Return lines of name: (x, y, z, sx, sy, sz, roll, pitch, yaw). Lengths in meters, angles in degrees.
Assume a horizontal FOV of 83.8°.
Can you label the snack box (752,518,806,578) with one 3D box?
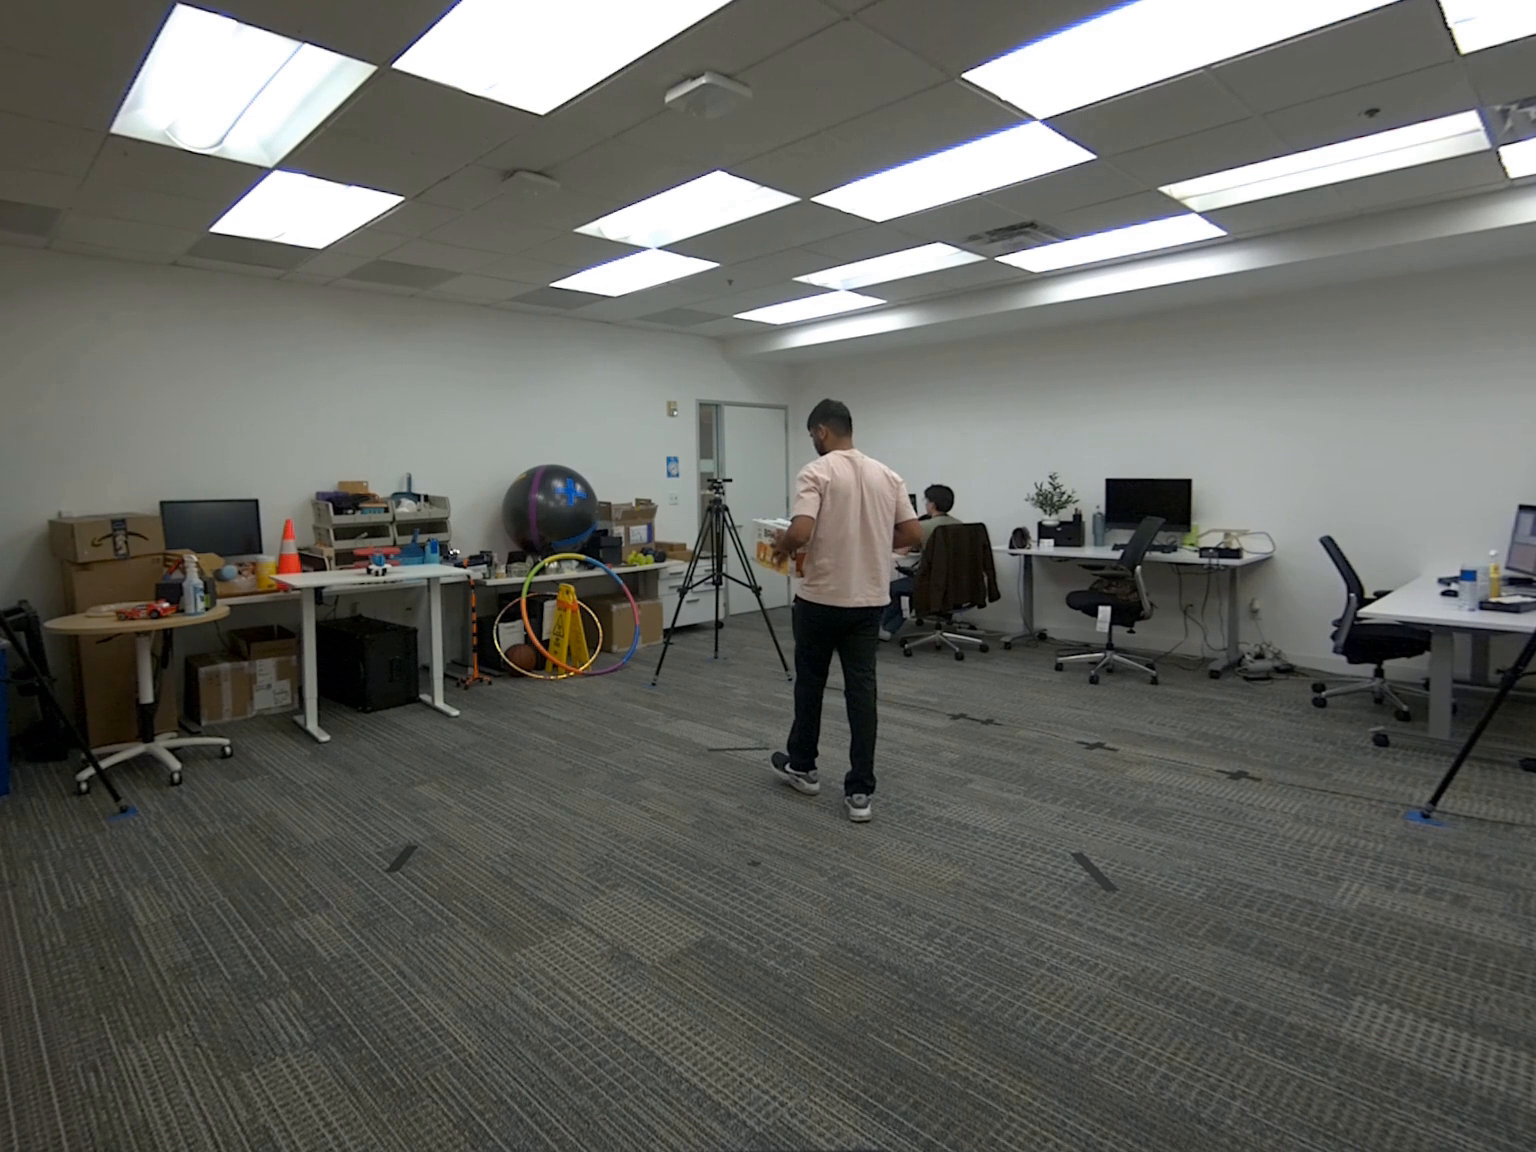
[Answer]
snack box: (0.166, -0.136, 3.856, 0.333, 0.204, 0.418, -3, 12, -28)
